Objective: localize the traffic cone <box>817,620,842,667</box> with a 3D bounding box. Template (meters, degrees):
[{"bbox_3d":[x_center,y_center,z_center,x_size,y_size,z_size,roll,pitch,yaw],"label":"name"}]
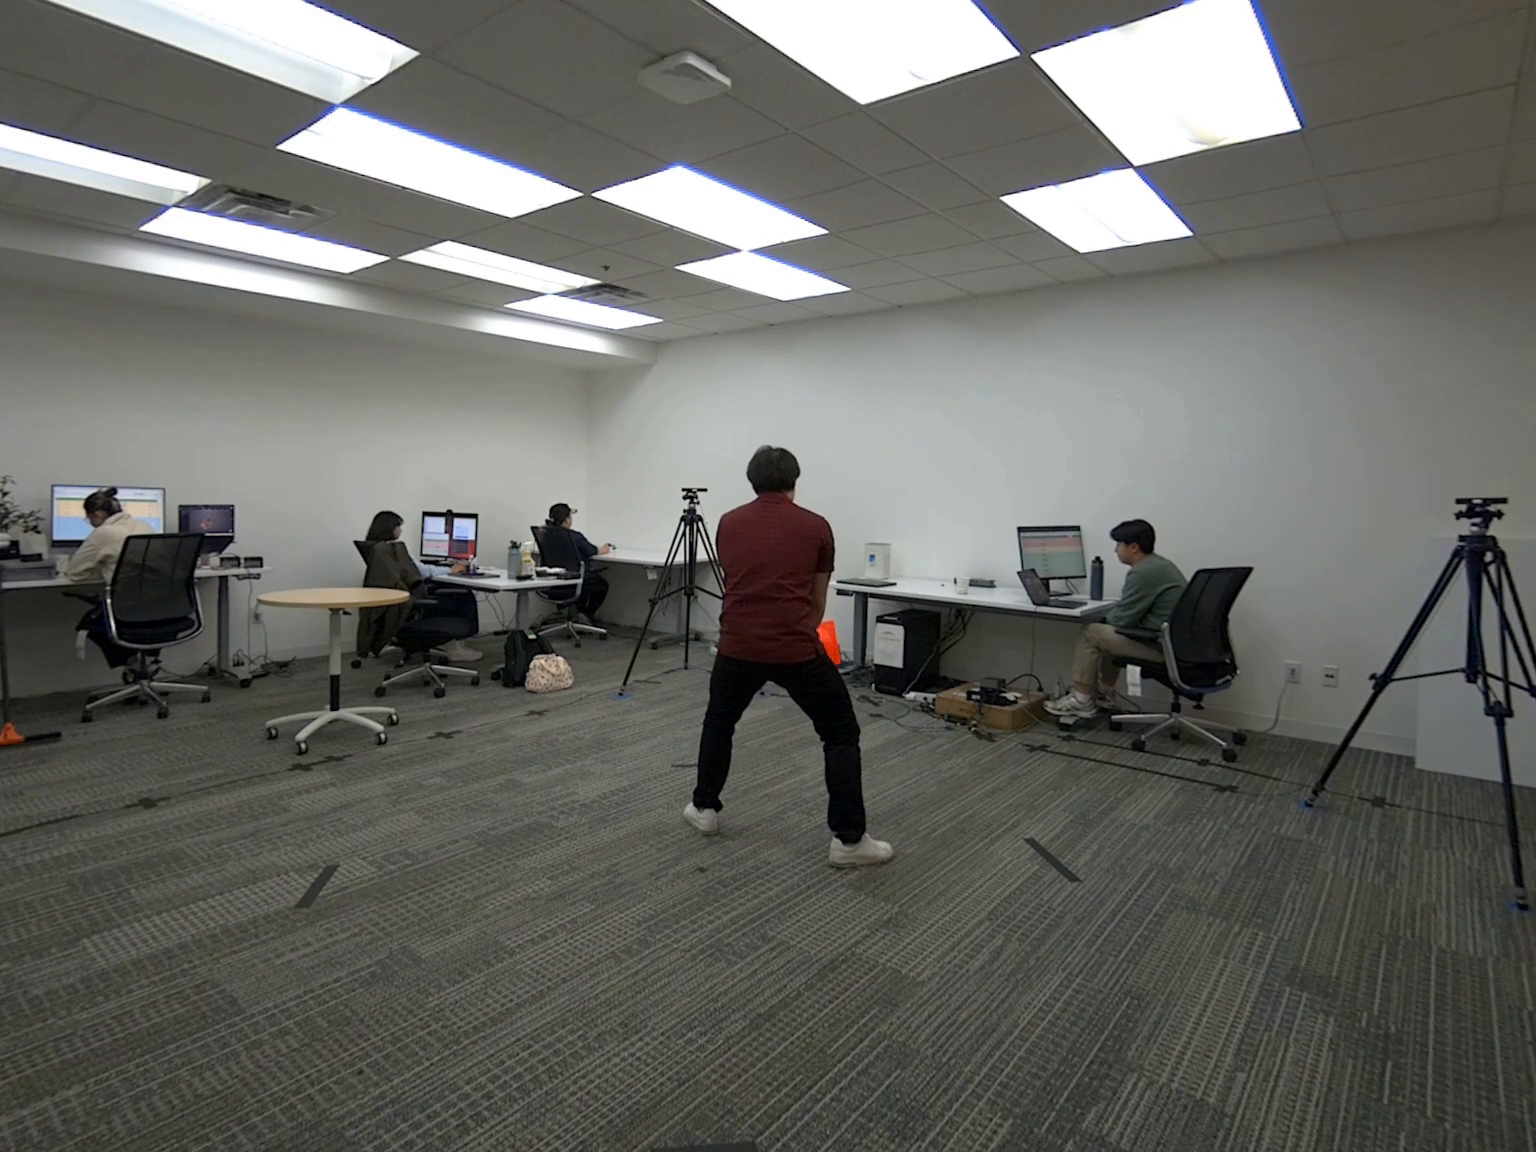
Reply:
[{"bbox_3d":[0.142,0.289,3.665,0.206,0.209,0.371,-17,-16,19],"label":"traffic cone"}]
